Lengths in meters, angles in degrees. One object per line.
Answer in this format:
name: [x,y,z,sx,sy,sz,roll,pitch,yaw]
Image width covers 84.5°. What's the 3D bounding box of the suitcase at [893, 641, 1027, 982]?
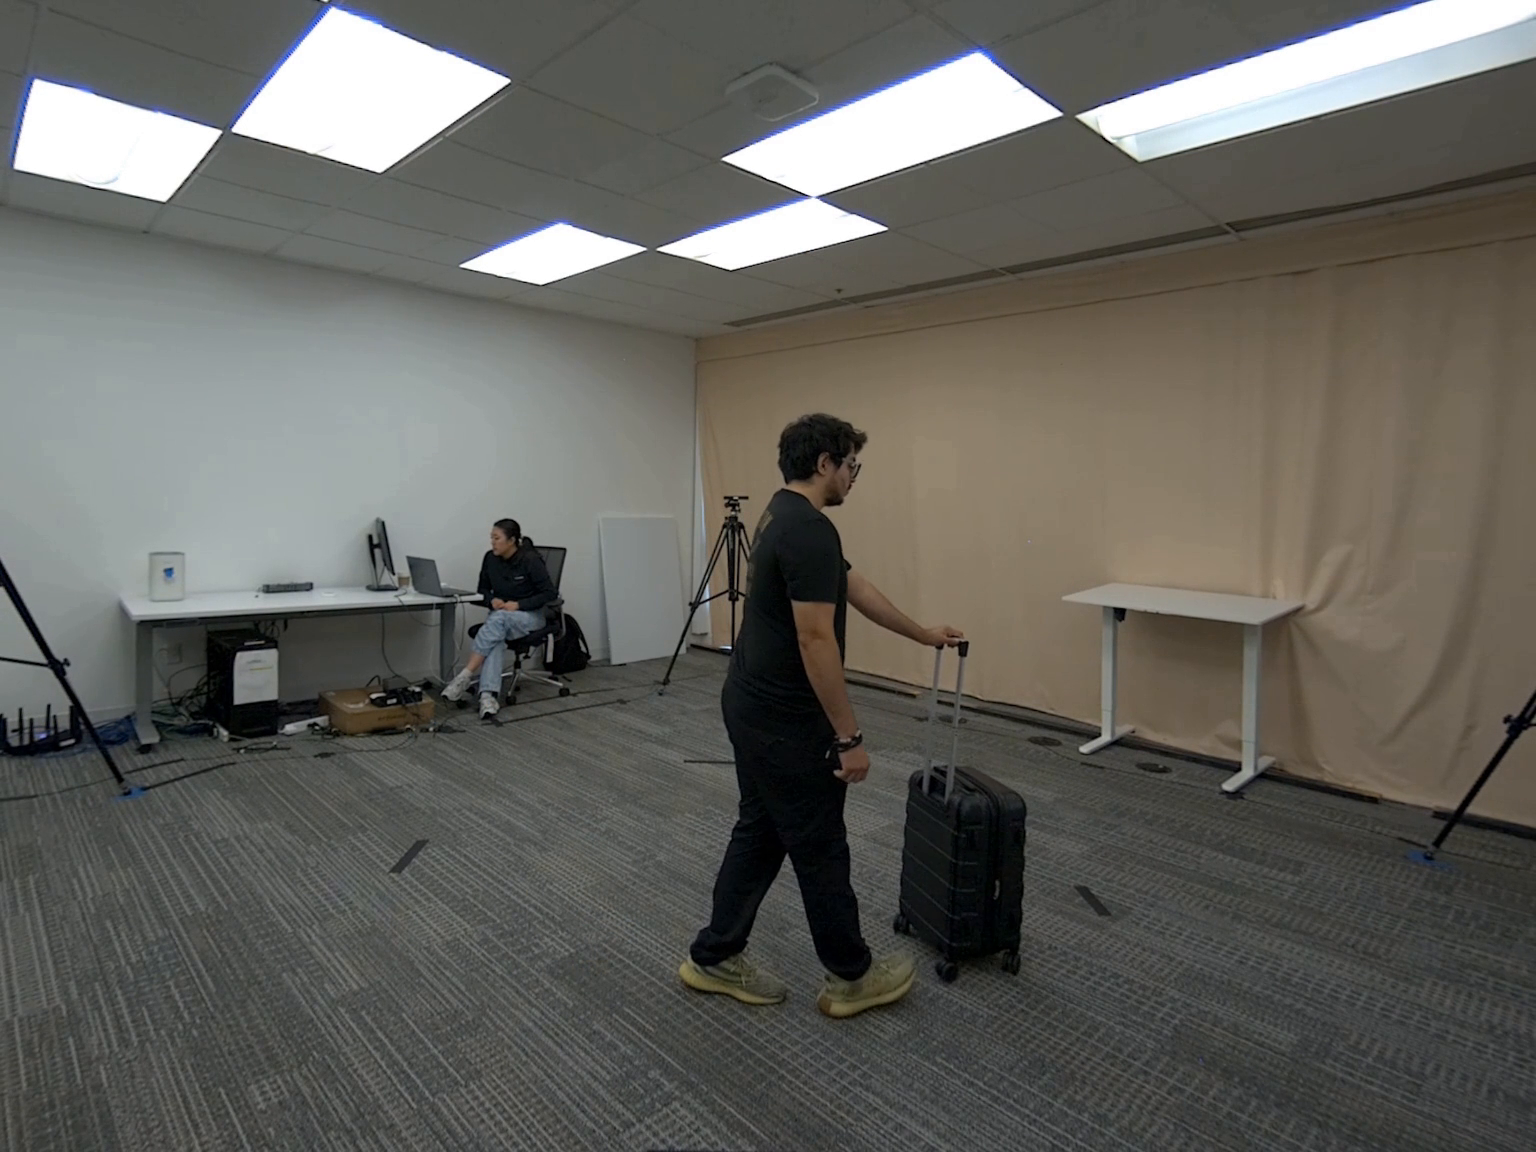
suitcase: [0.616,0.691,2.623,0.254,0.978,0.389,4,1,-16]
